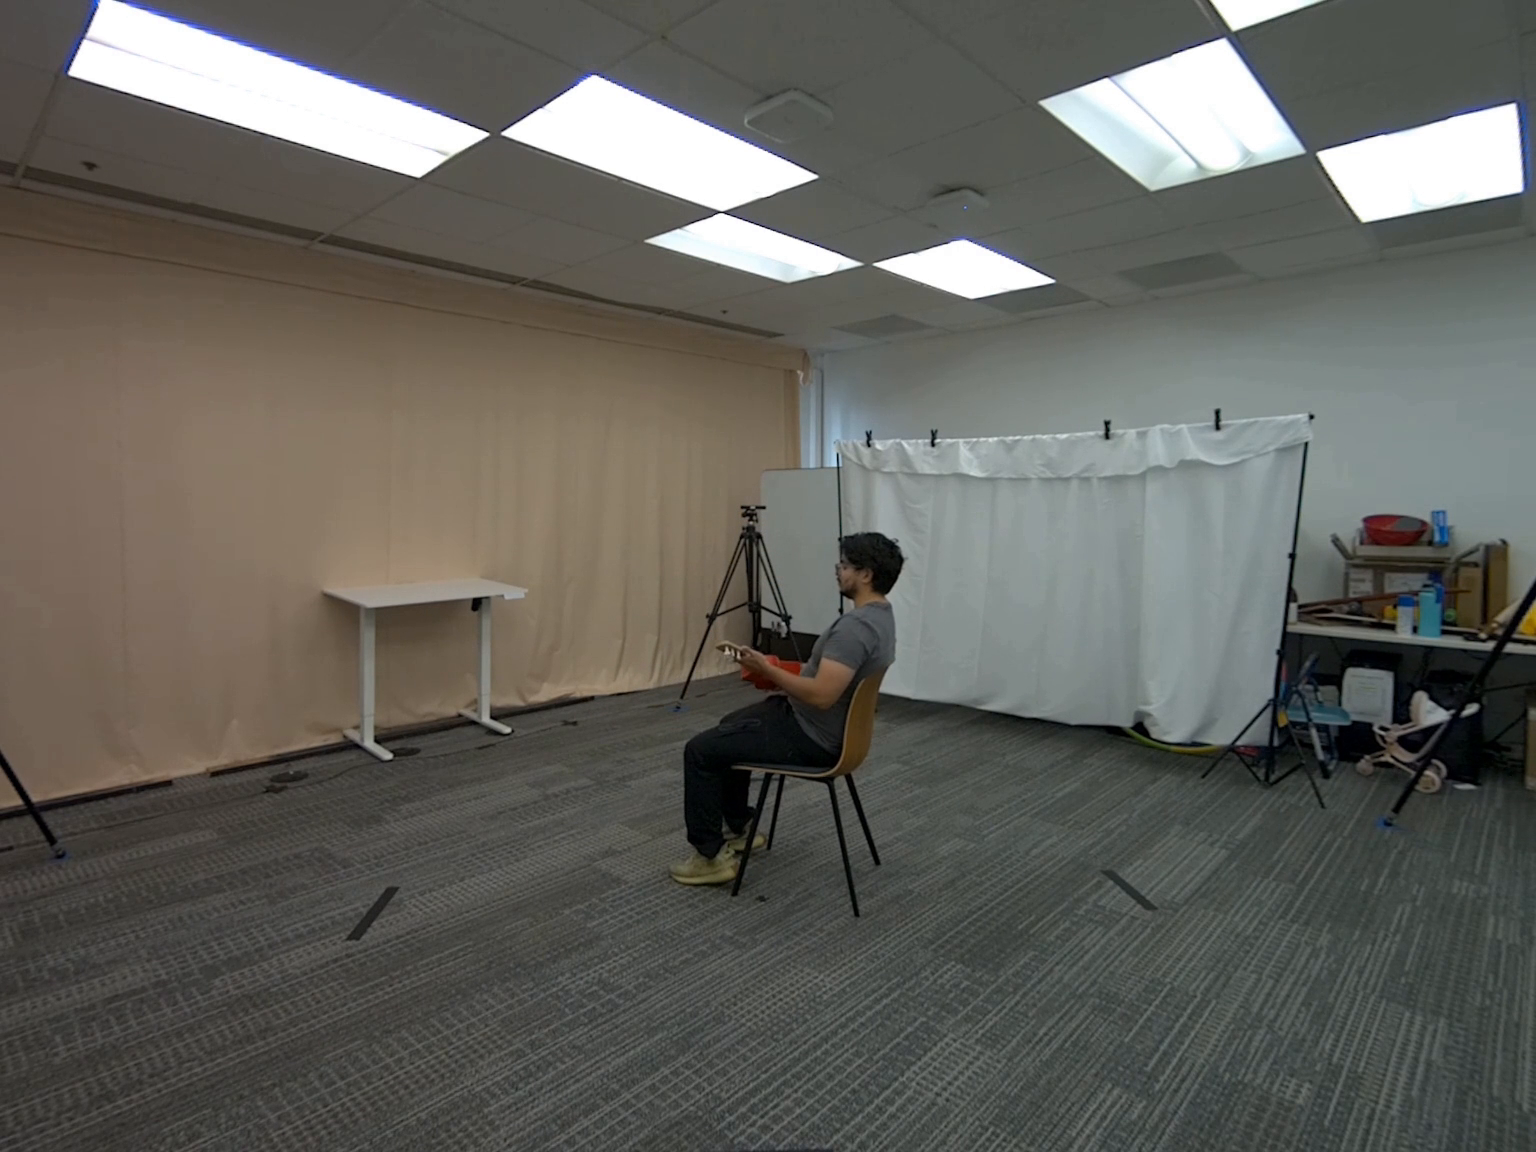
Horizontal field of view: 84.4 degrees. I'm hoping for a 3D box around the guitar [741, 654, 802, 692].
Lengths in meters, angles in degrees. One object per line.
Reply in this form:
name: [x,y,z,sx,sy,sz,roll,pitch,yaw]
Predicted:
guitar: [-0.066,0.337,3.080,0.197,0.072,0.480,-24,-29,33]
